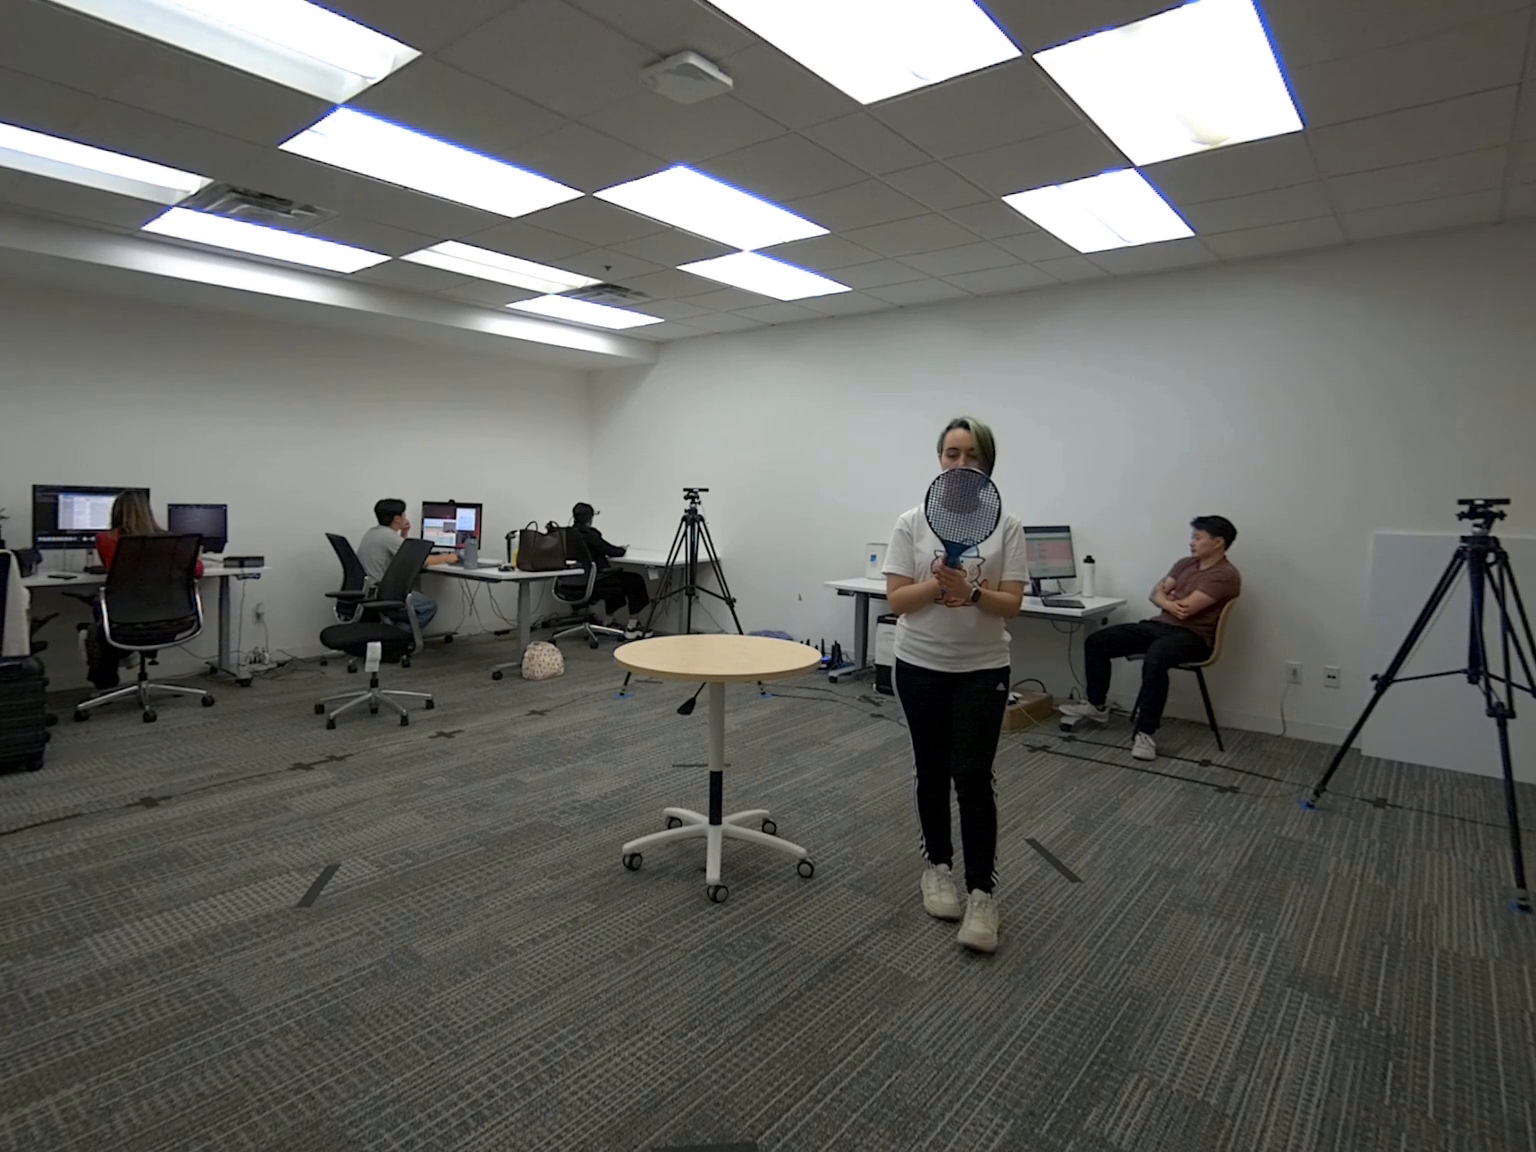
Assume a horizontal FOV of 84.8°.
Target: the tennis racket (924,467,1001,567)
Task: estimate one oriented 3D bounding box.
[{"bbox_3d":[0.542,-0.130,2.478,0.219,0.421,0.032,16,38,19],"label":"tennis racket"}]
